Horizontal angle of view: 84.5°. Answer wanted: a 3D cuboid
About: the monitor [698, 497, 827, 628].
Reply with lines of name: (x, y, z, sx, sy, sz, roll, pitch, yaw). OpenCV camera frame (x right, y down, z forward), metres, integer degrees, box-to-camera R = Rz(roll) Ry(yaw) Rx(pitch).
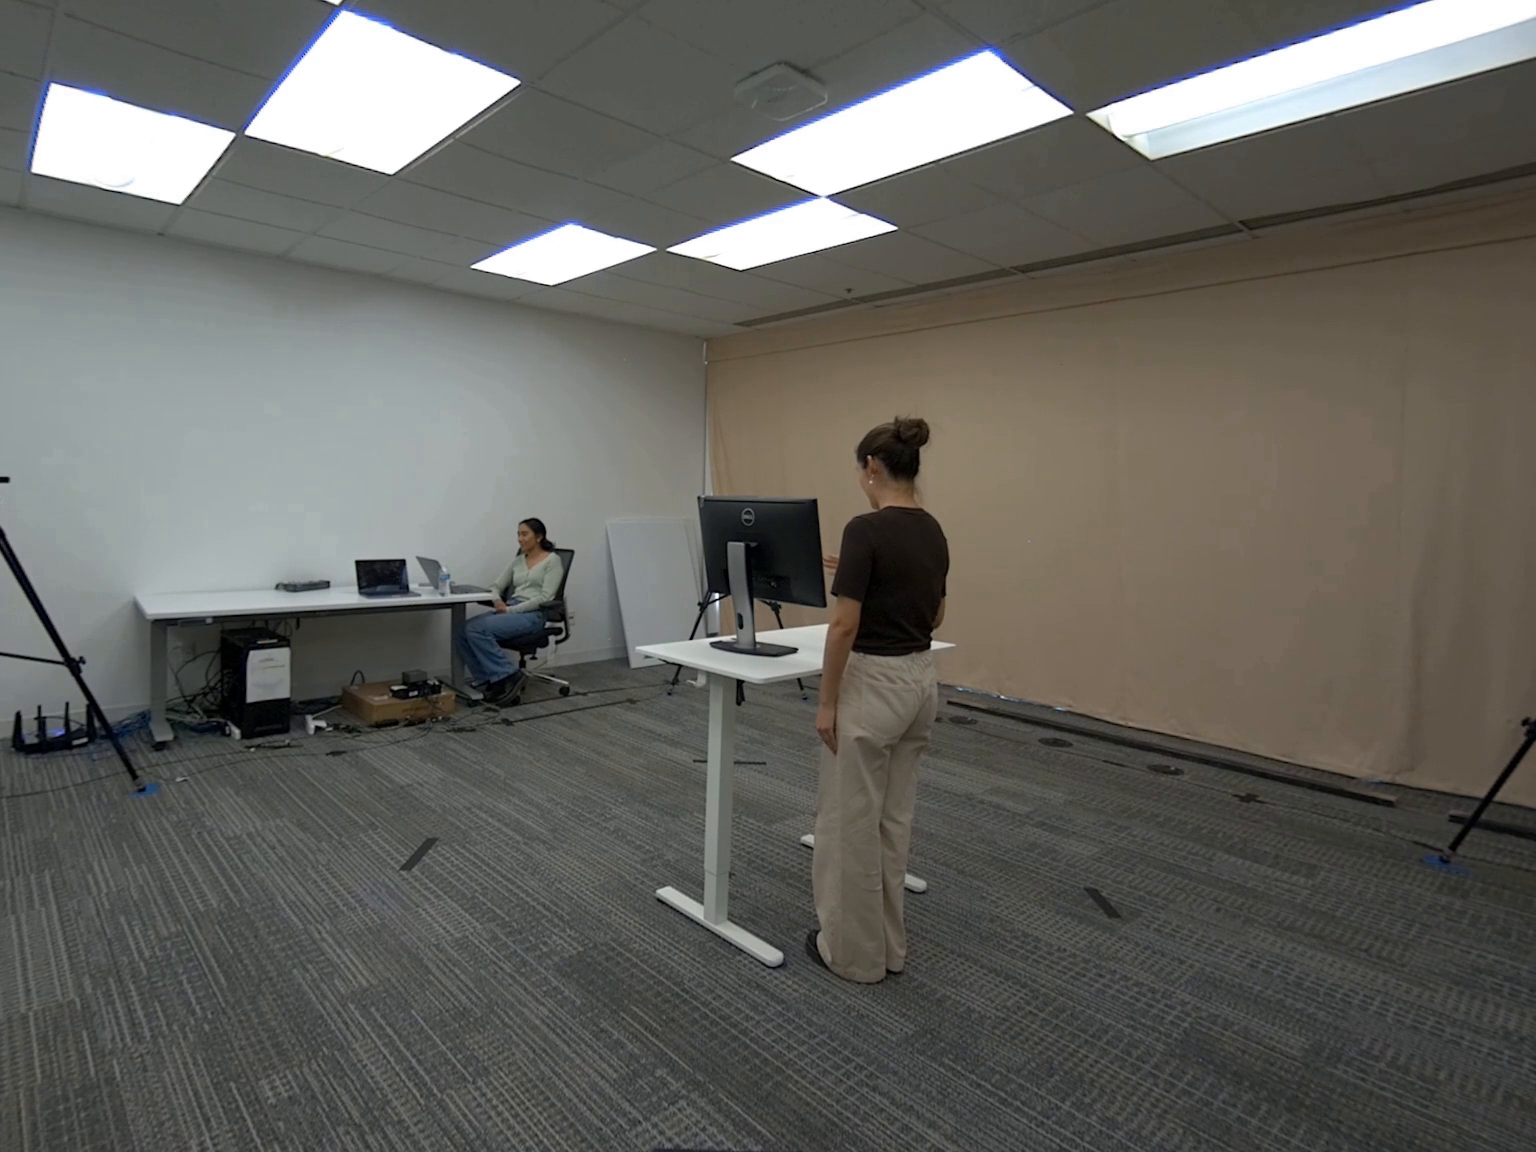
monitor: (-0.055, -0.002, 2.799, 0.182, 0.522, 0.553, 0, 4, -45)
